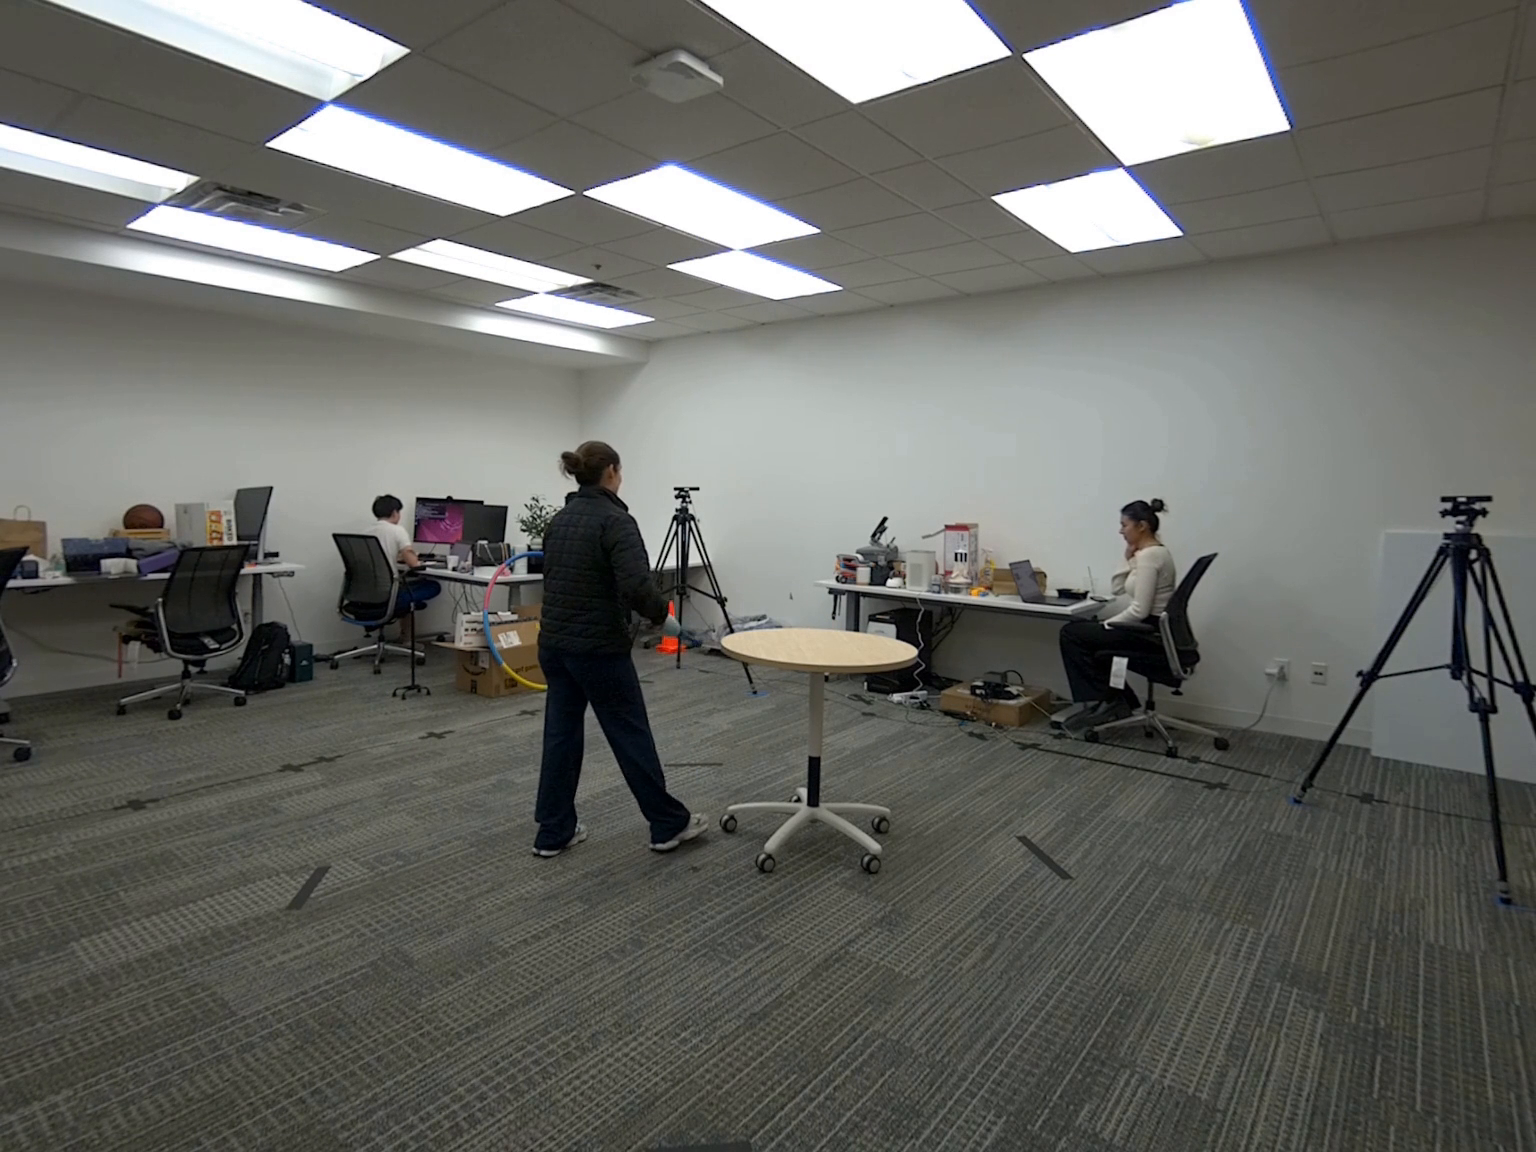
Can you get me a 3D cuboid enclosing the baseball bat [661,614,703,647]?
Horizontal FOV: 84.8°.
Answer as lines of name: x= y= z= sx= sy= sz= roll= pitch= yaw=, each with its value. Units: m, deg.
baseball bat: x=-0.365 y=0.227 z=3.537 sx=0.090 sy=0.090 sz=0.527 roll=2 pitch=-12 yaw=15
